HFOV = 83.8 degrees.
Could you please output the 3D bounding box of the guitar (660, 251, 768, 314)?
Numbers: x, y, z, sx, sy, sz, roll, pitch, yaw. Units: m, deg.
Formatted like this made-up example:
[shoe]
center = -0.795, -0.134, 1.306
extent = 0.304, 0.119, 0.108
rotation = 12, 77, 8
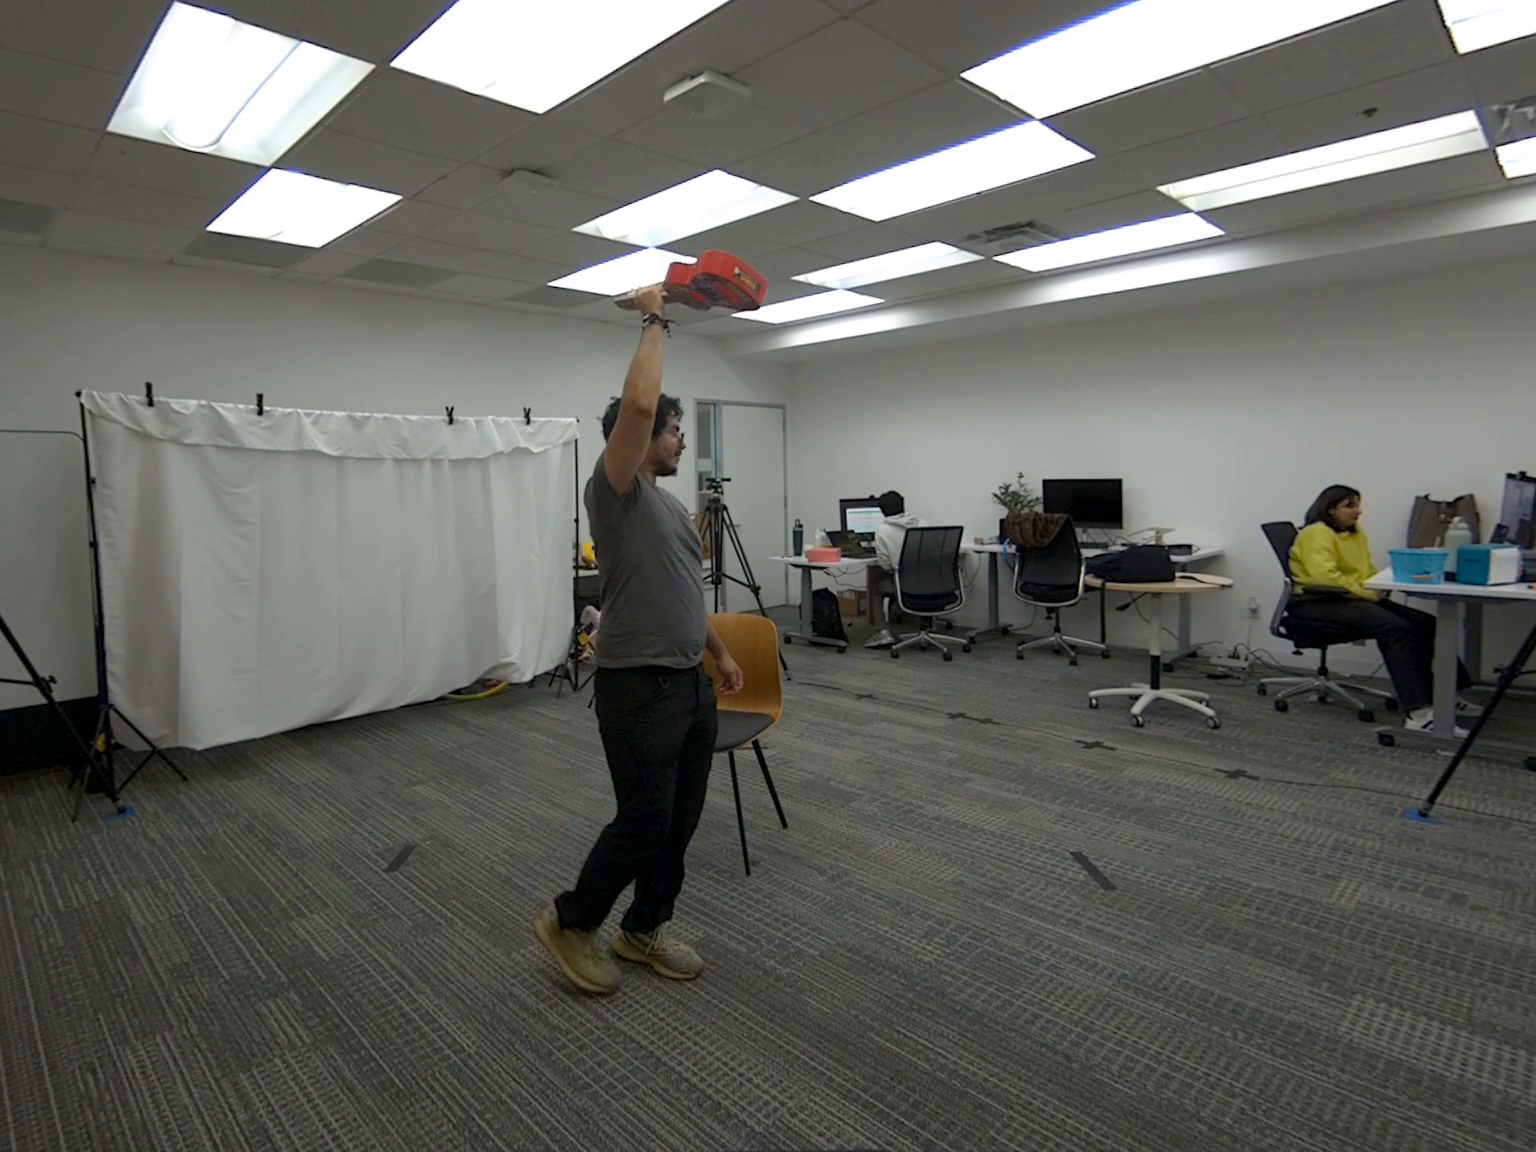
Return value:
[guitar]
center = -0.242, -0.750, 2.187
extent = 0.514, 0.071, 0.186
rotation = 14, -7, 35
